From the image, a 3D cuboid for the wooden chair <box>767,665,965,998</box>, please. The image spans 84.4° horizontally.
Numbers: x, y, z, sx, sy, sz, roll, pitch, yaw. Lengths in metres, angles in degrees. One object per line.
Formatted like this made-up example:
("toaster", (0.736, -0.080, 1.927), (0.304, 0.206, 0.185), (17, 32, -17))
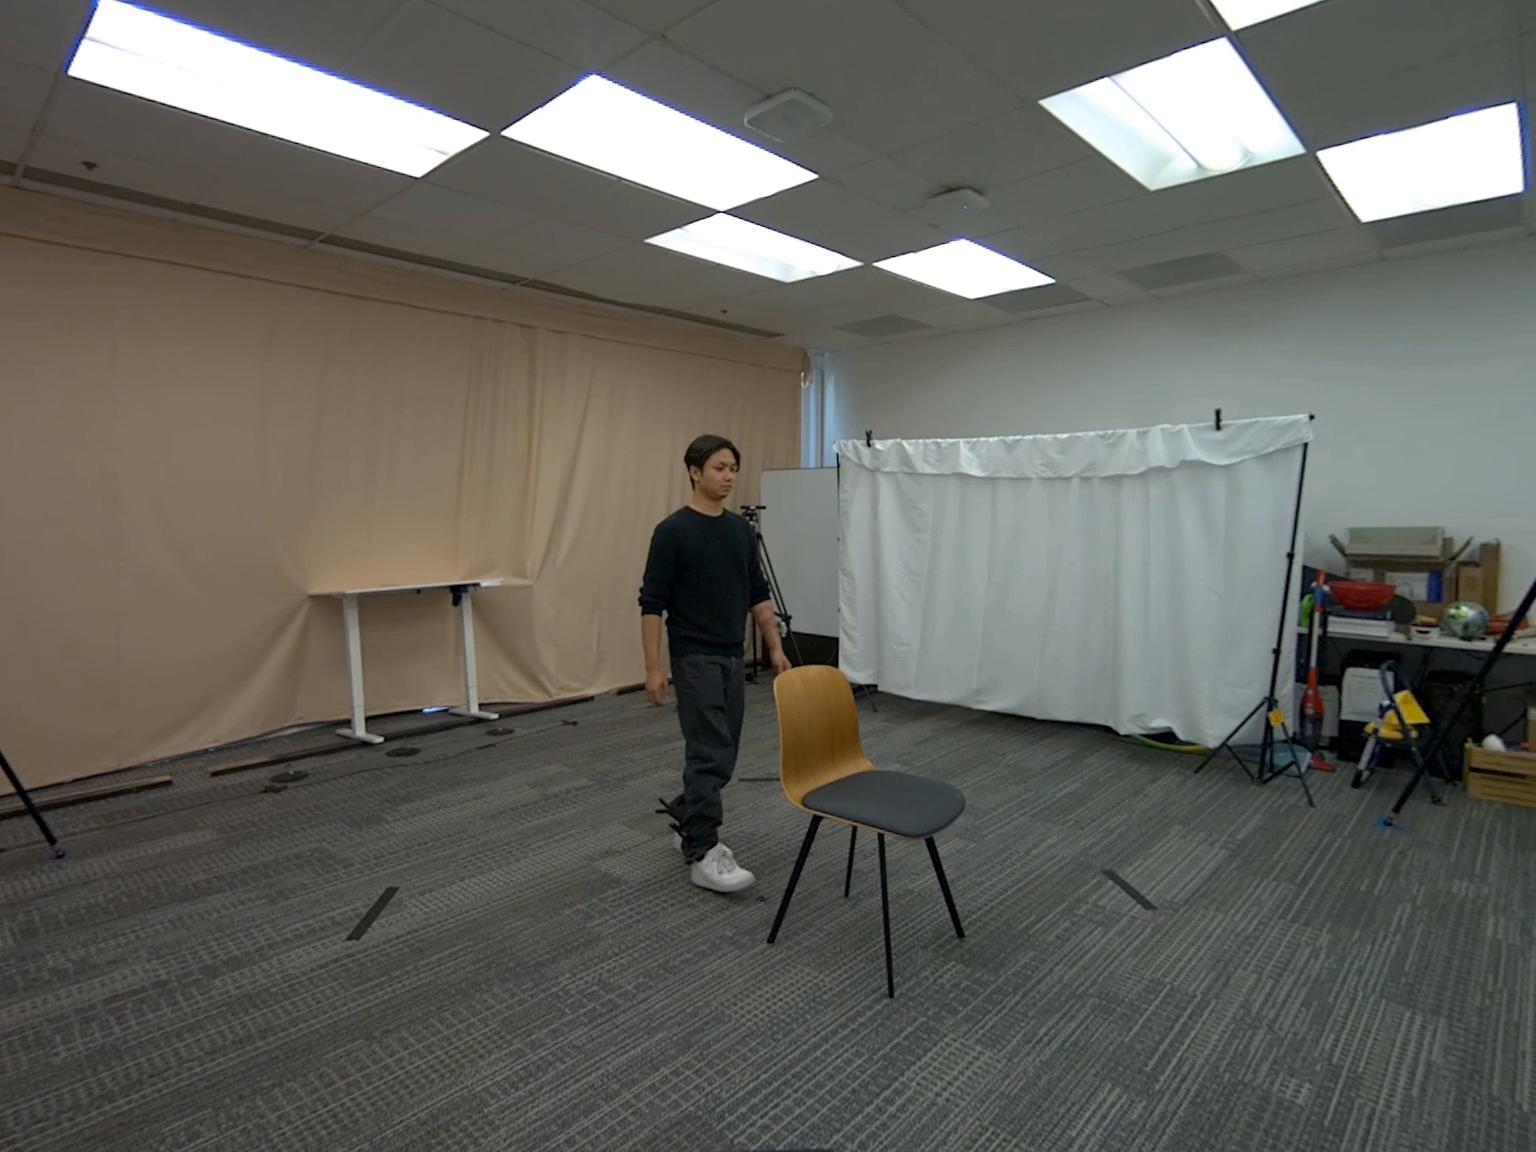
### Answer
("wooden chair", (0.326, 0.744, 2.658), (0.539, 0.877, 0.463), (-3, 1, 41))
